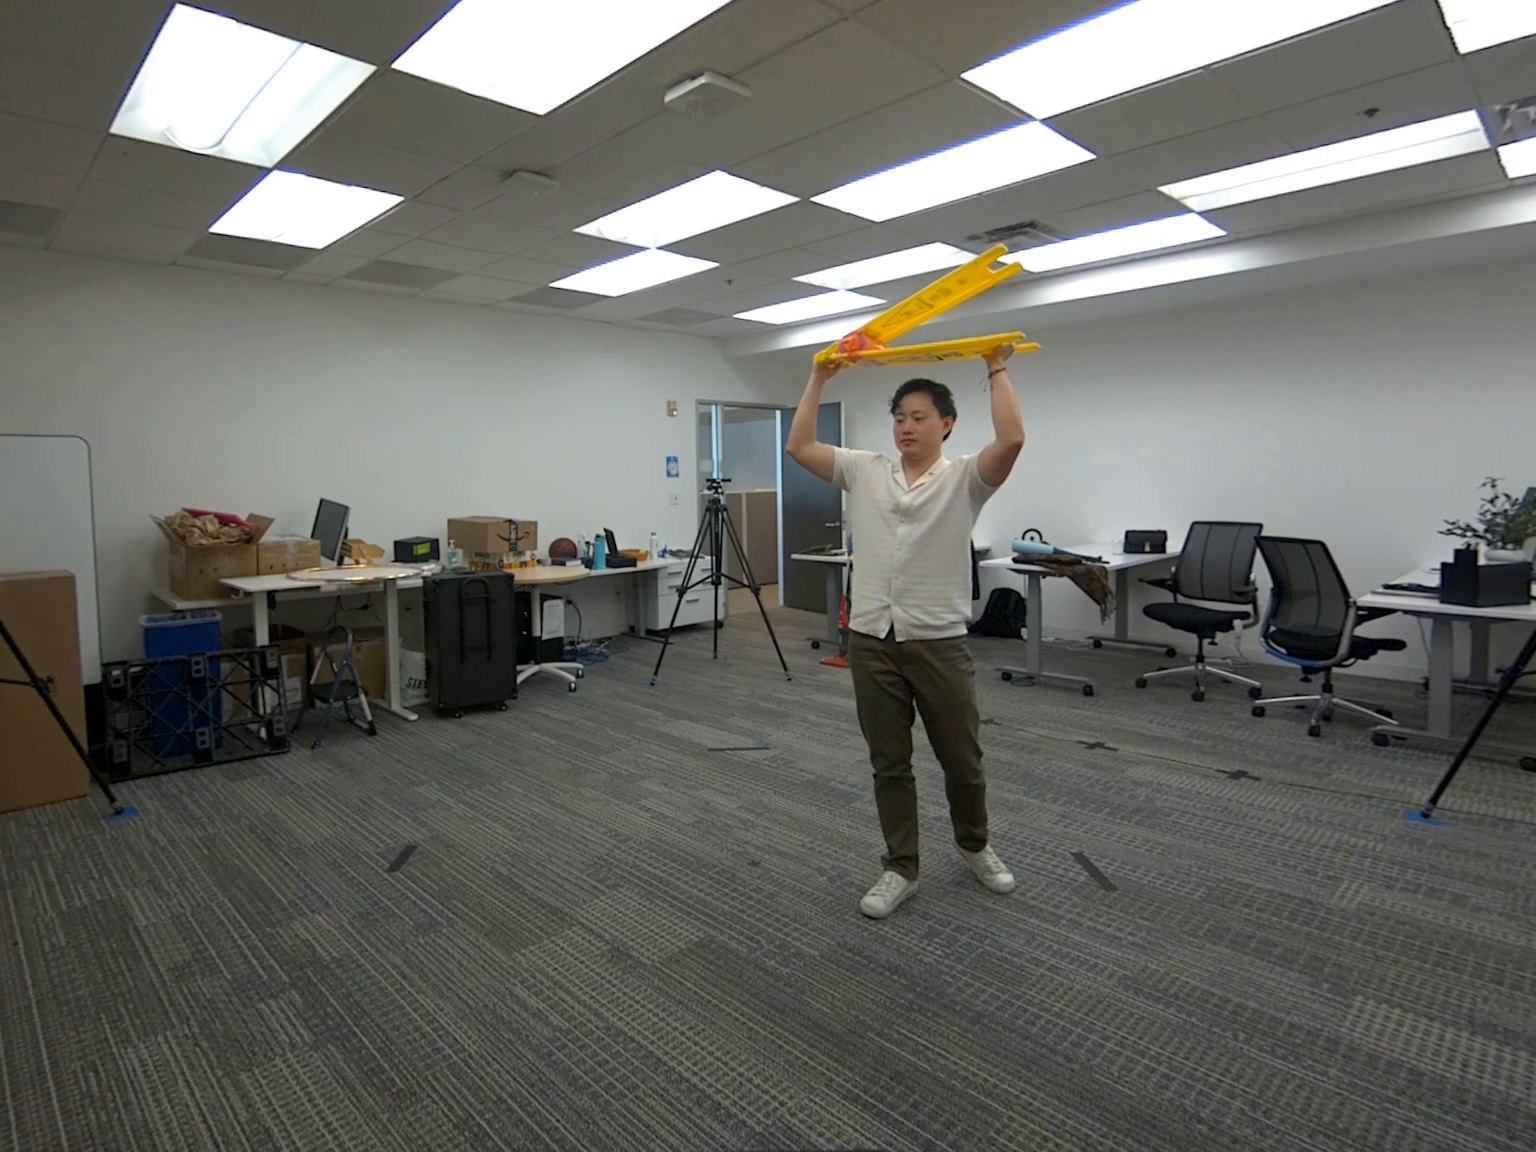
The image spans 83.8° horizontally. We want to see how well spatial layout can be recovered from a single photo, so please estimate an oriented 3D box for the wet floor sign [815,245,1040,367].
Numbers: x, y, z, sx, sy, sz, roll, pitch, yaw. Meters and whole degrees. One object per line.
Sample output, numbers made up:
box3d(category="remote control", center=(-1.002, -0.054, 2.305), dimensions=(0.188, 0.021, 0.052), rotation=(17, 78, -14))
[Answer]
box3d(category="wet floor sign", center=(0.480, -0.758, 2.664), dimensions=(0.659, 0.291, 0.275), rotation=(-11, -3, 32))
